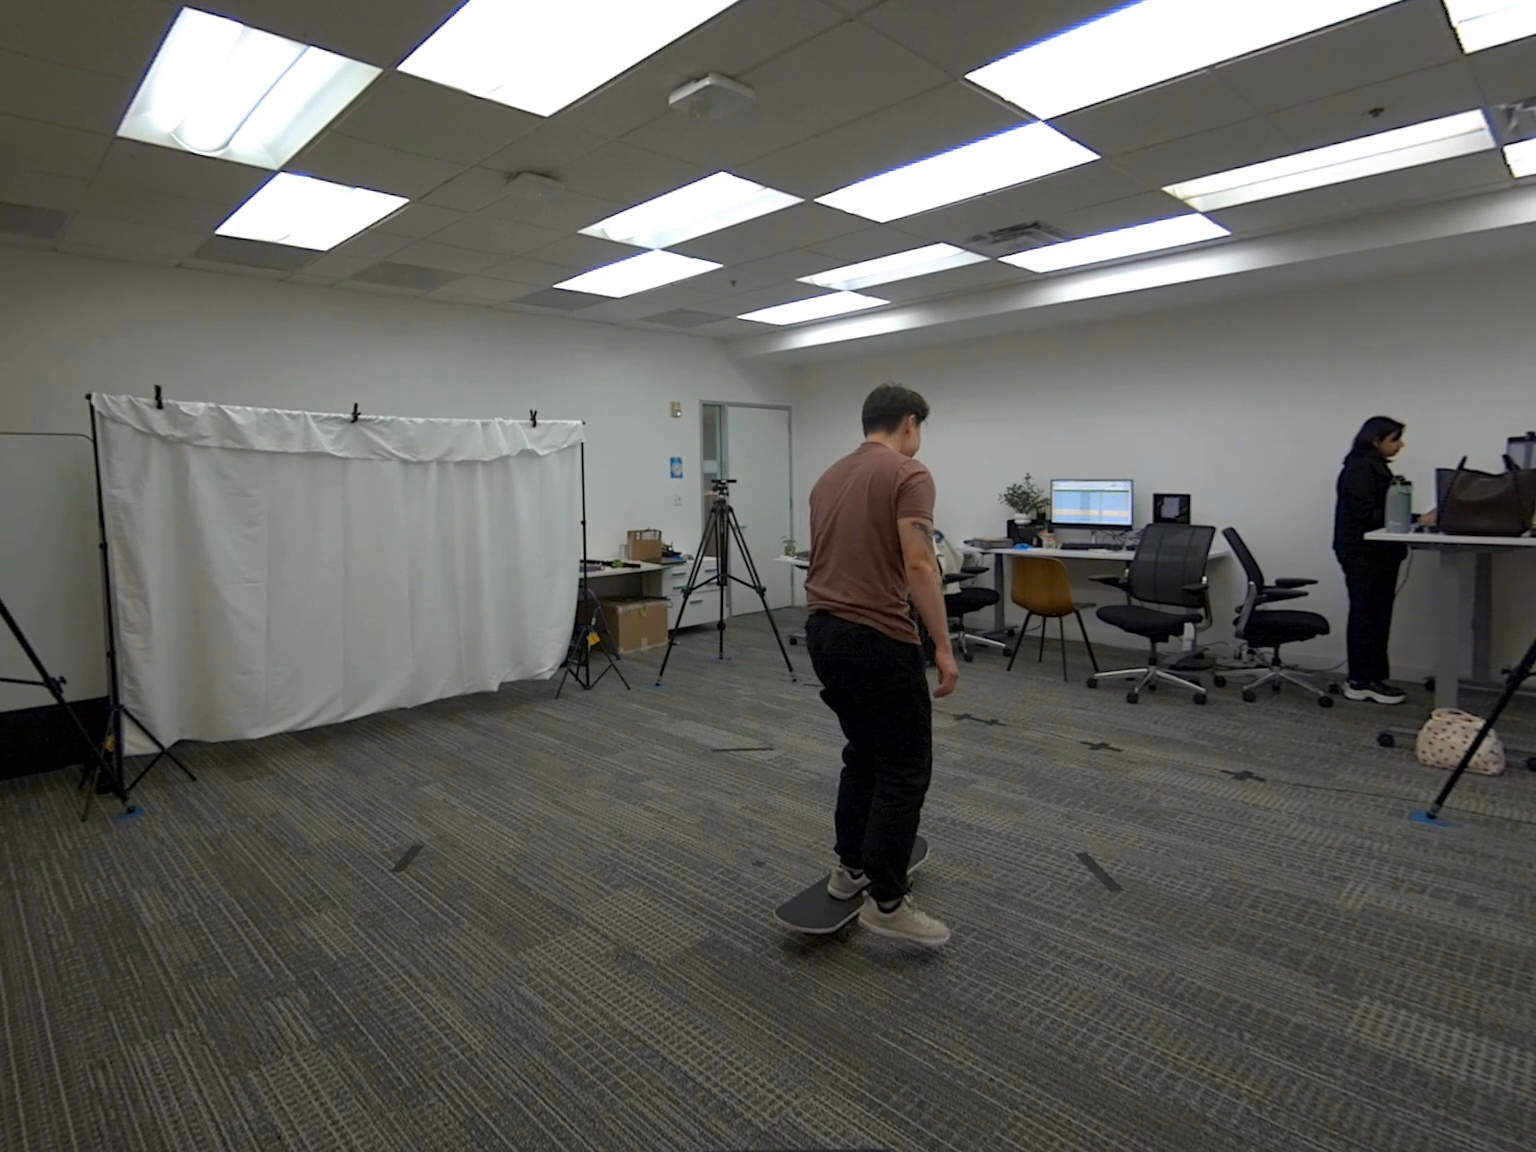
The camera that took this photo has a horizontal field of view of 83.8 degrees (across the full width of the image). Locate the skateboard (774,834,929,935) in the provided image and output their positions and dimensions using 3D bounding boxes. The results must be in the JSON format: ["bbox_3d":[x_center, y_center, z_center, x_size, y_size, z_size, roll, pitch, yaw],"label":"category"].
[{"bbox_3d":[0.304,1.025,2.776,0.199,0.110,0.766,5,9,37],"label":"skateboard"}]
